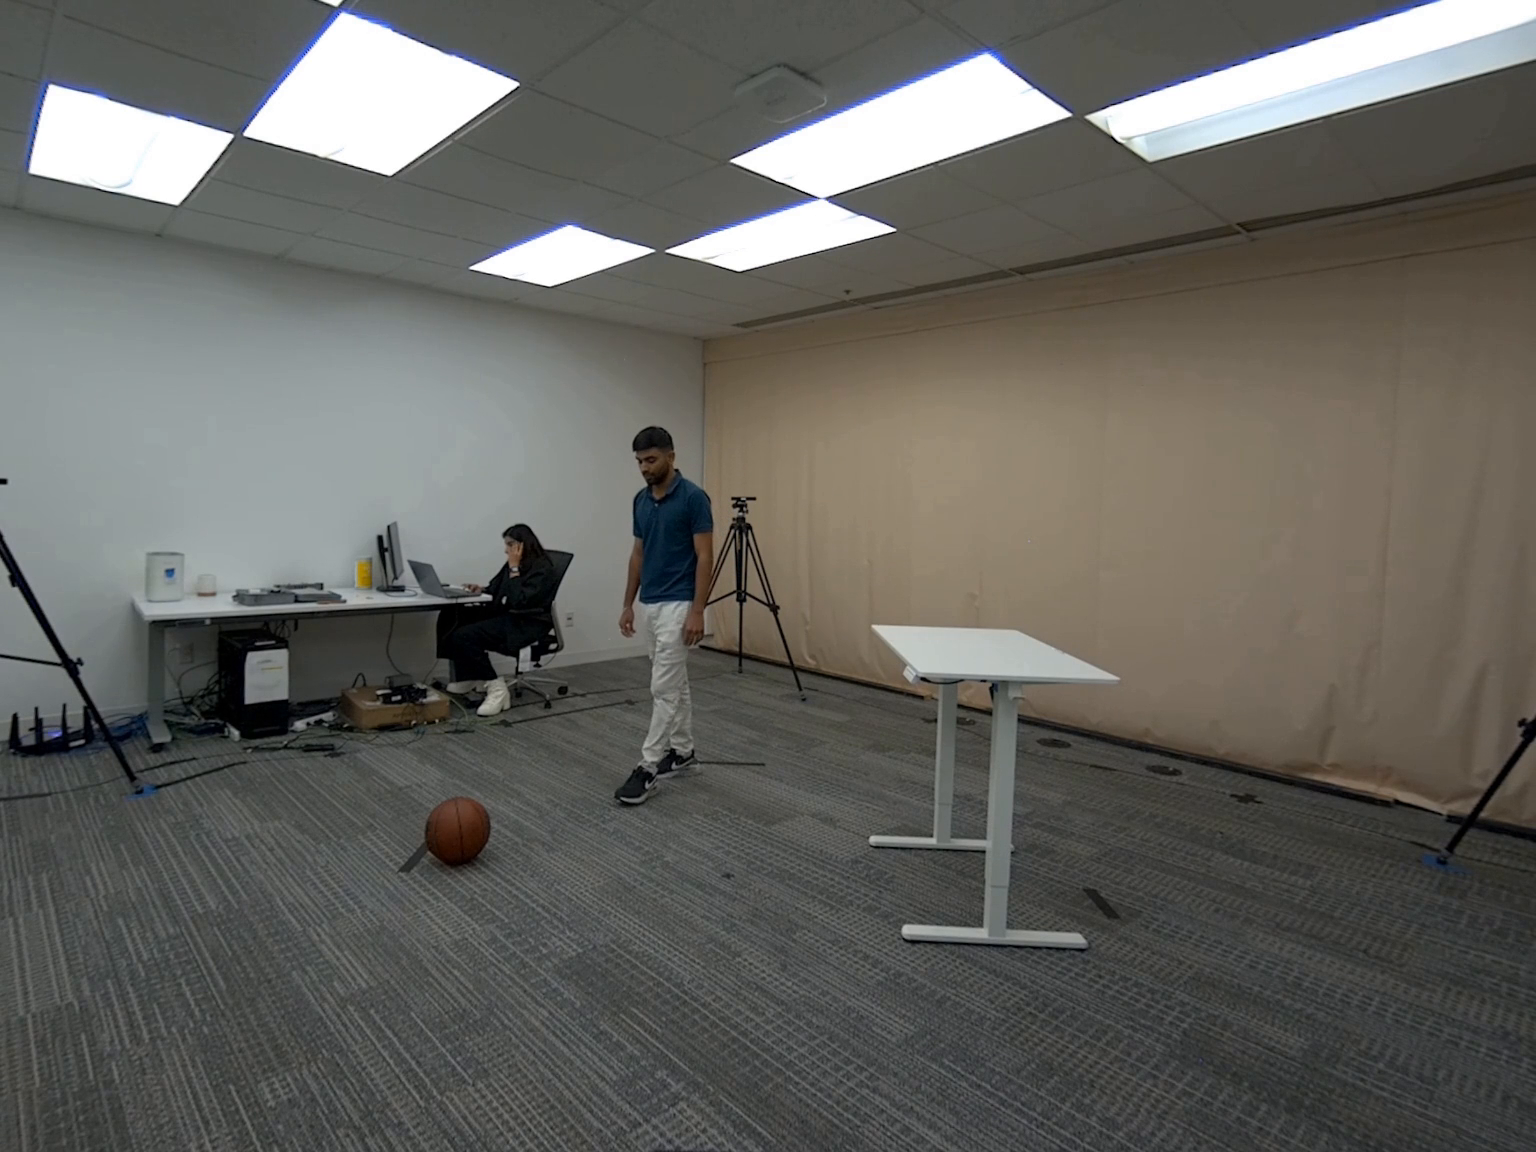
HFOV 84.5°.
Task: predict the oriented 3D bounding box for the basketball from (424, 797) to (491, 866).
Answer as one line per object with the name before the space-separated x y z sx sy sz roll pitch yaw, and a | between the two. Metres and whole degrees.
basketball | -1.179 0.959 3.176 0.236 0.235 0.237 1 4 -1
